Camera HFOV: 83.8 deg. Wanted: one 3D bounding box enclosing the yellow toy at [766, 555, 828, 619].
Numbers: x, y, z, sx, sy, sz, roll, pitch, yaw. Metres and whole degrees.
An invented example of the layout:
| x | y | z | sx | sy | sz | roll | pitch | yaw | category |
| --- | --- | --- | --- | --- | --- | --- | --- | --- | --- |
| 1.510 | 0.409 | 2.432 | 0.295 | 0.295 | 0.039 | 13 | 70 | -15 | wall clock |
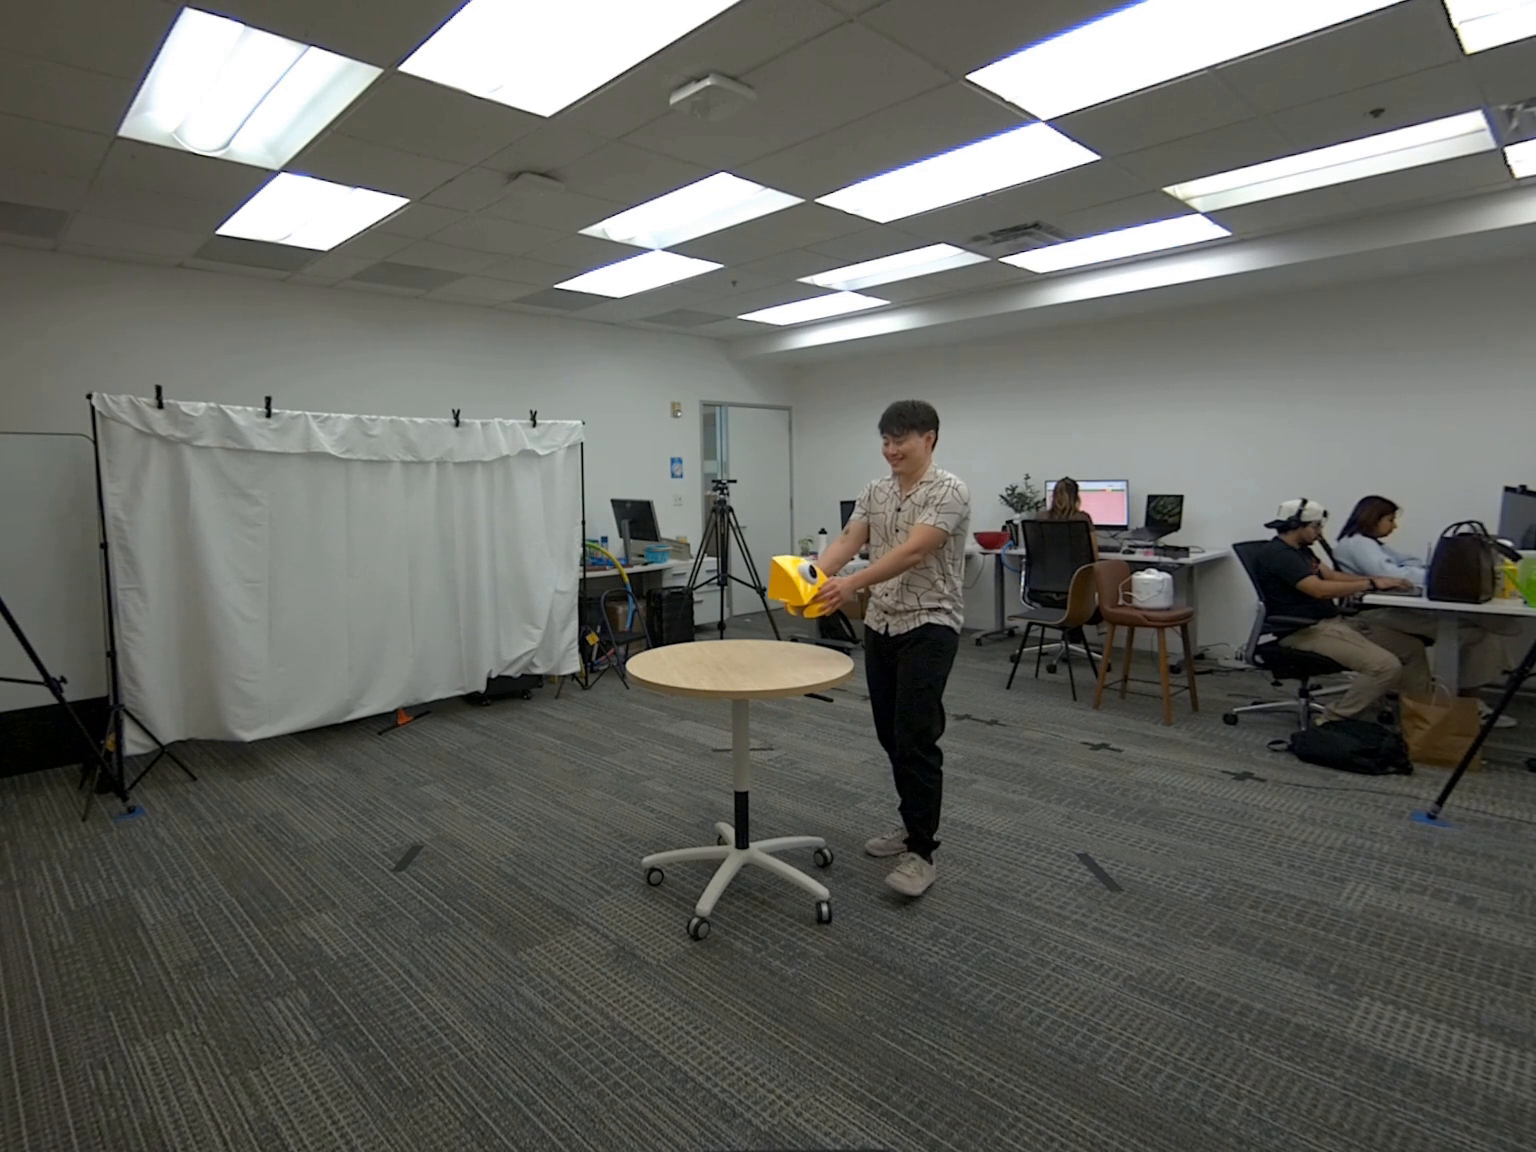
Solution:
| x | y | z | sx | sy | sz | roll | pitch | yaw | category |
| --- | --- | --- | --- | --- | --- | --- | --- | --- | --- |
| 0.112 | 0.001 | 2.828 | 0.192 | 0.225 | 0.211 | -38 | 22 | -26 | yellow toy |
